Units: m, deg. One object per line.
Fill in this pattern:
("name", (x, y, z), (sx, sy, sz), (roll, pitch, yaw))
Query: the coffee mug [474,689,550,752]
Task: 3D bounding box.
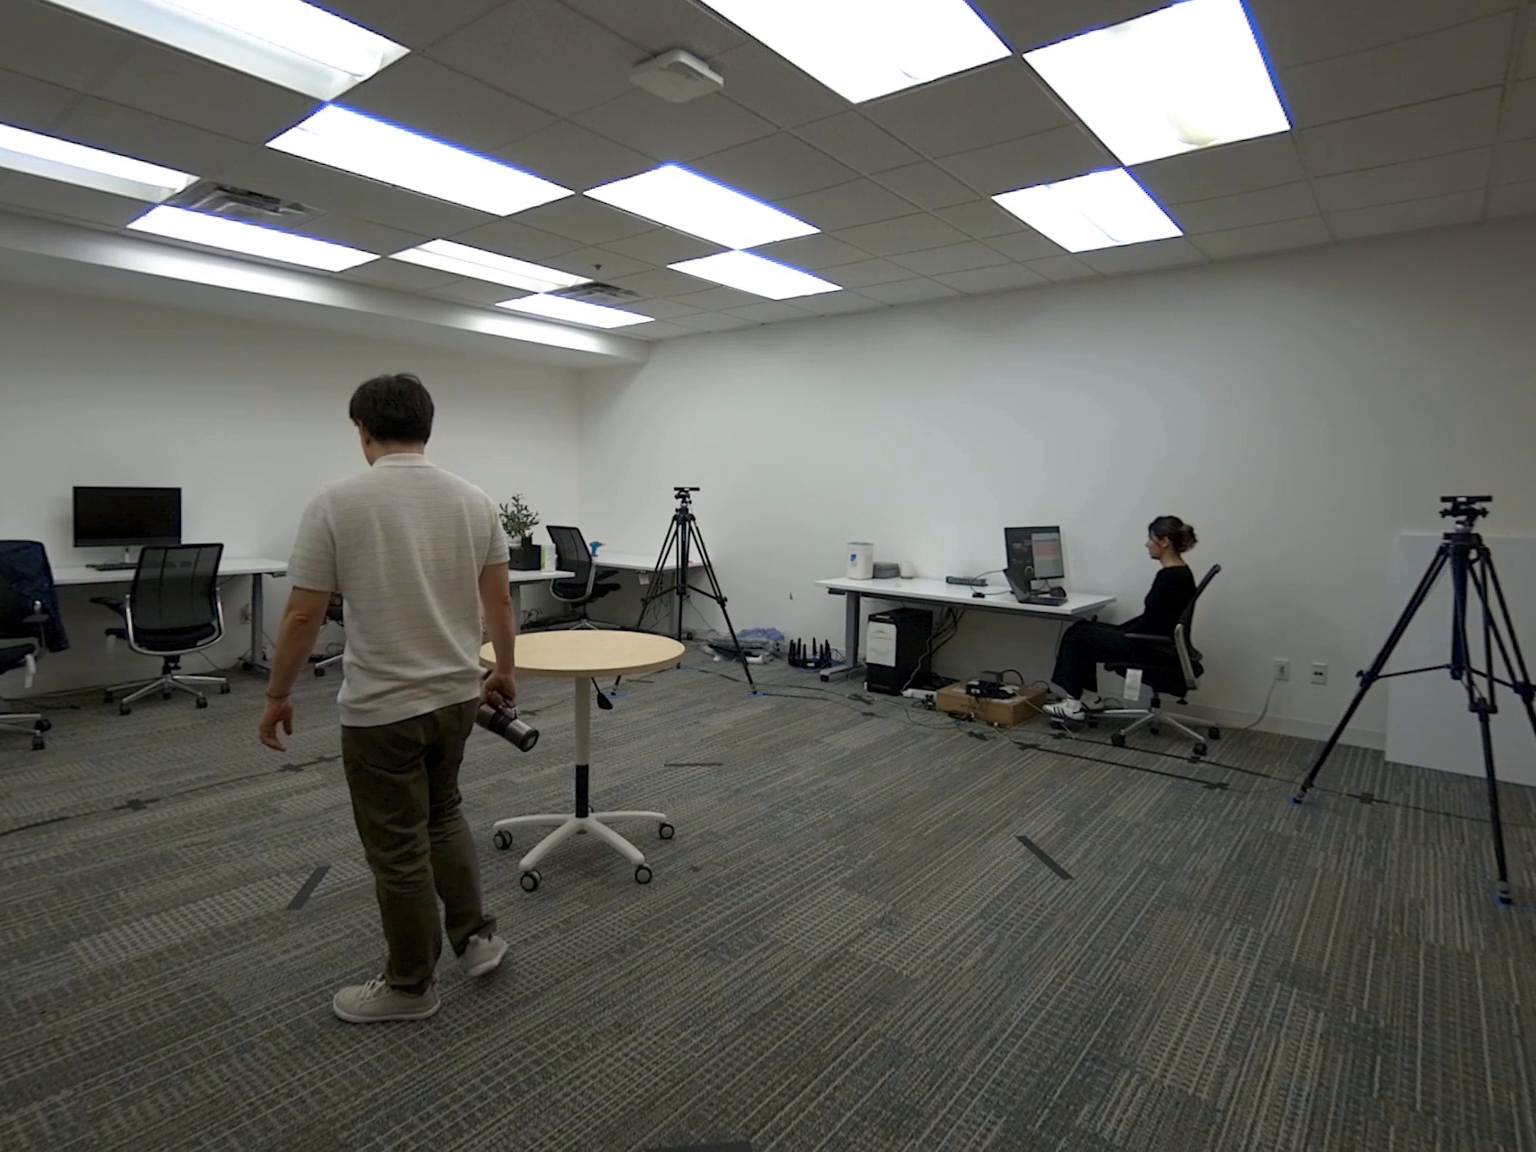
("coffee mug", (-0.766, 0.405, 2.473), (0.209, 0.121, 0.085), (22, 9, 24))
